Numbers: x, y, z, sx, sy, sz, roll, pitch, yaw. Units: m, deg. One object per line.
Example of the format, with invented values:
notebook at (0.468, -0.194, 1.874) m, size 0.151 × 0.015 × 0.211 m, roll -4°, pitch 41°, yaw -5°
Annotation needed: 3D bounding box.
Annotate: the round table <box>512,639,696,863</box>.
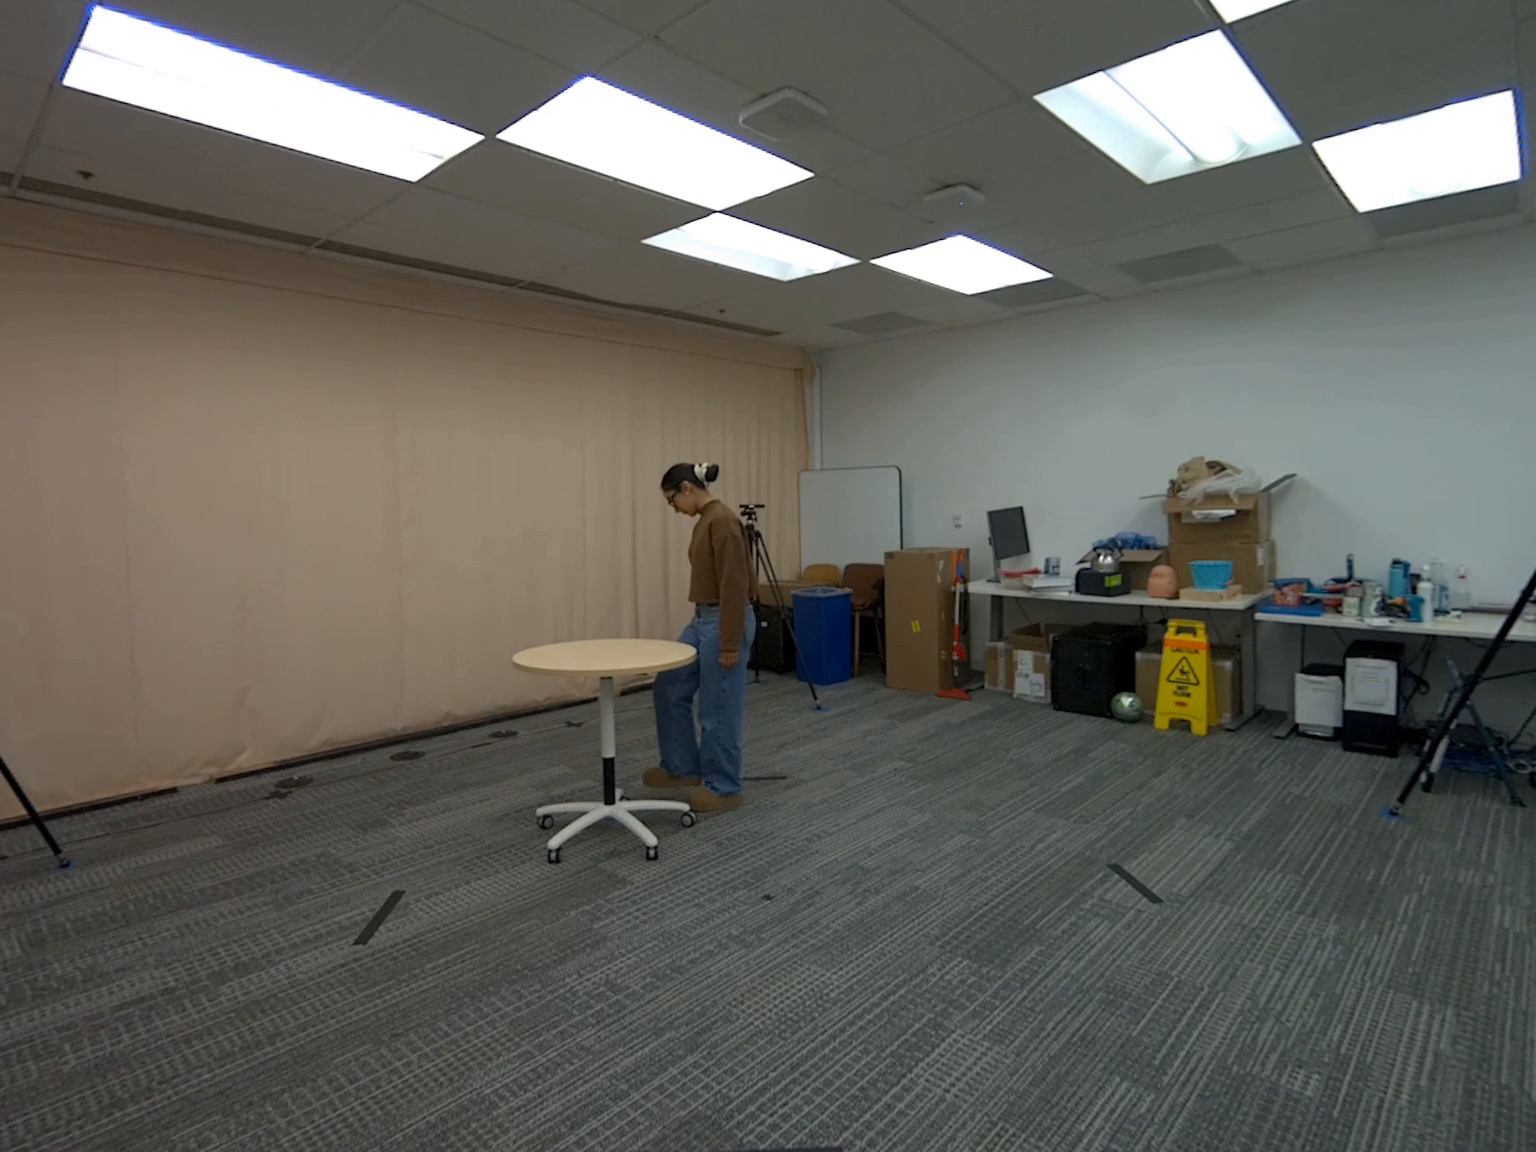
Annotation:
round table at (-0.683, 0.719, 3.559) m, size 0.763 × 0.792 × 0.766 m, roll -1°, pitch 3°, yaw -2°
